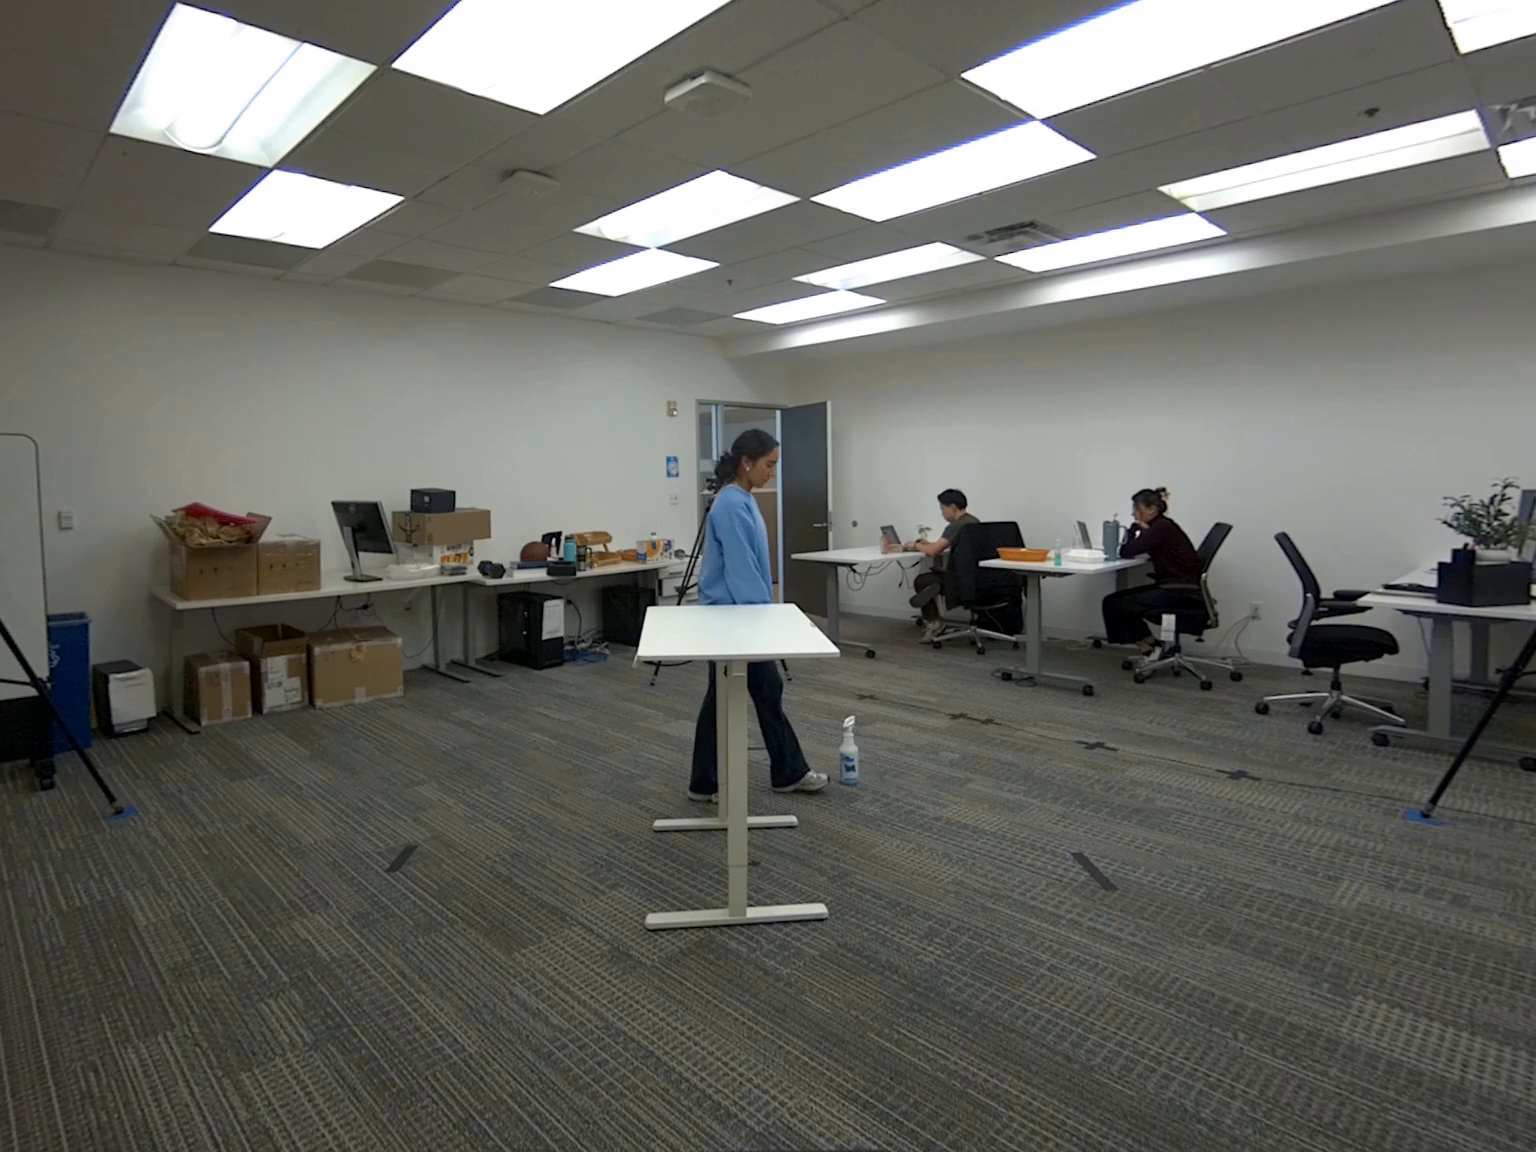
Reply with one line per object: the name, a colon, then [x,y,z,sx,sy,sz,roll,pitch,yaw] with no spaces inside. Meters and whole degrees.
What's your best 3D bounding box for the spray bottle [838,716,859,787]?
spray bottle: [0.364,0.797,3.909,0.088,0.297,0.089,-2,2,-29]
